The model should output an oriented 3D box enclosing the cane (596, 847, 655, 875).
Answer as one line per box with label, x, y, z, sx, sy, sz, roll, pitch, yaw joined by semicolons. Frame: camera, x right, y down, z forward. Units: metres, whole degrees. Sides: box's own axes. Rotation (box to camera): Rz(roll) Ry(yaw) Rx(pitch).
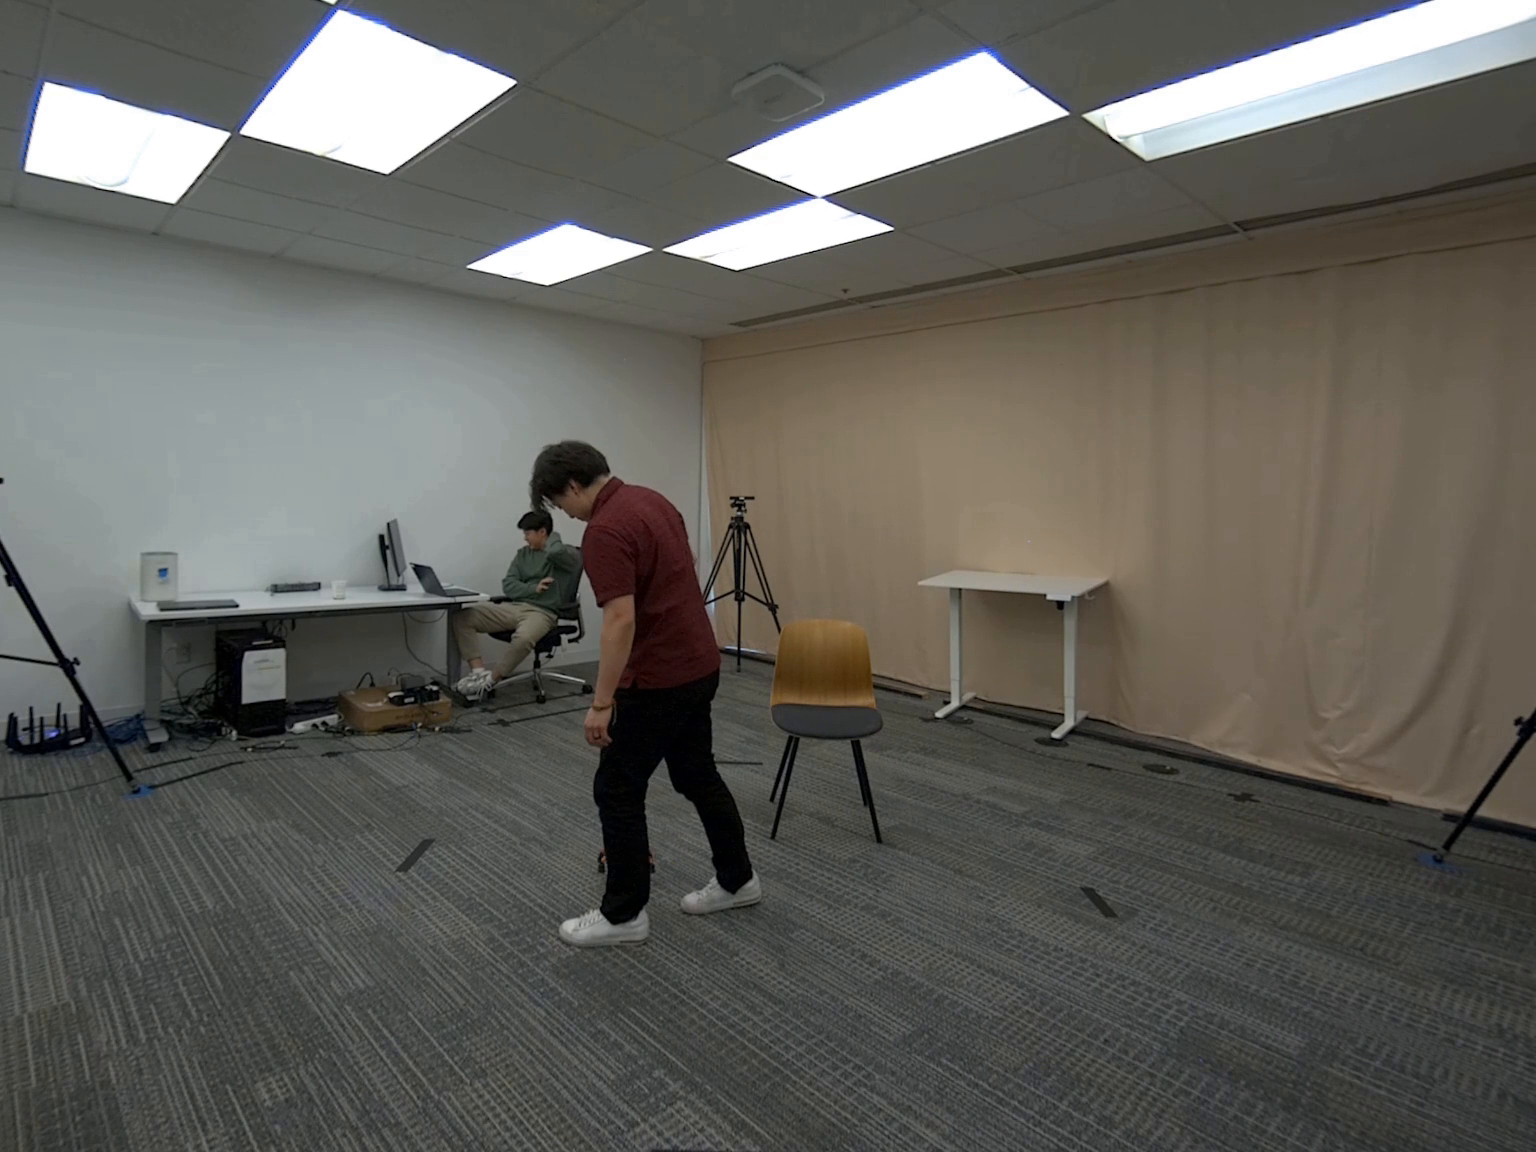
cane;-0.502;0.621;3.088;0.204;0.911;0.153;3;-5;-17
